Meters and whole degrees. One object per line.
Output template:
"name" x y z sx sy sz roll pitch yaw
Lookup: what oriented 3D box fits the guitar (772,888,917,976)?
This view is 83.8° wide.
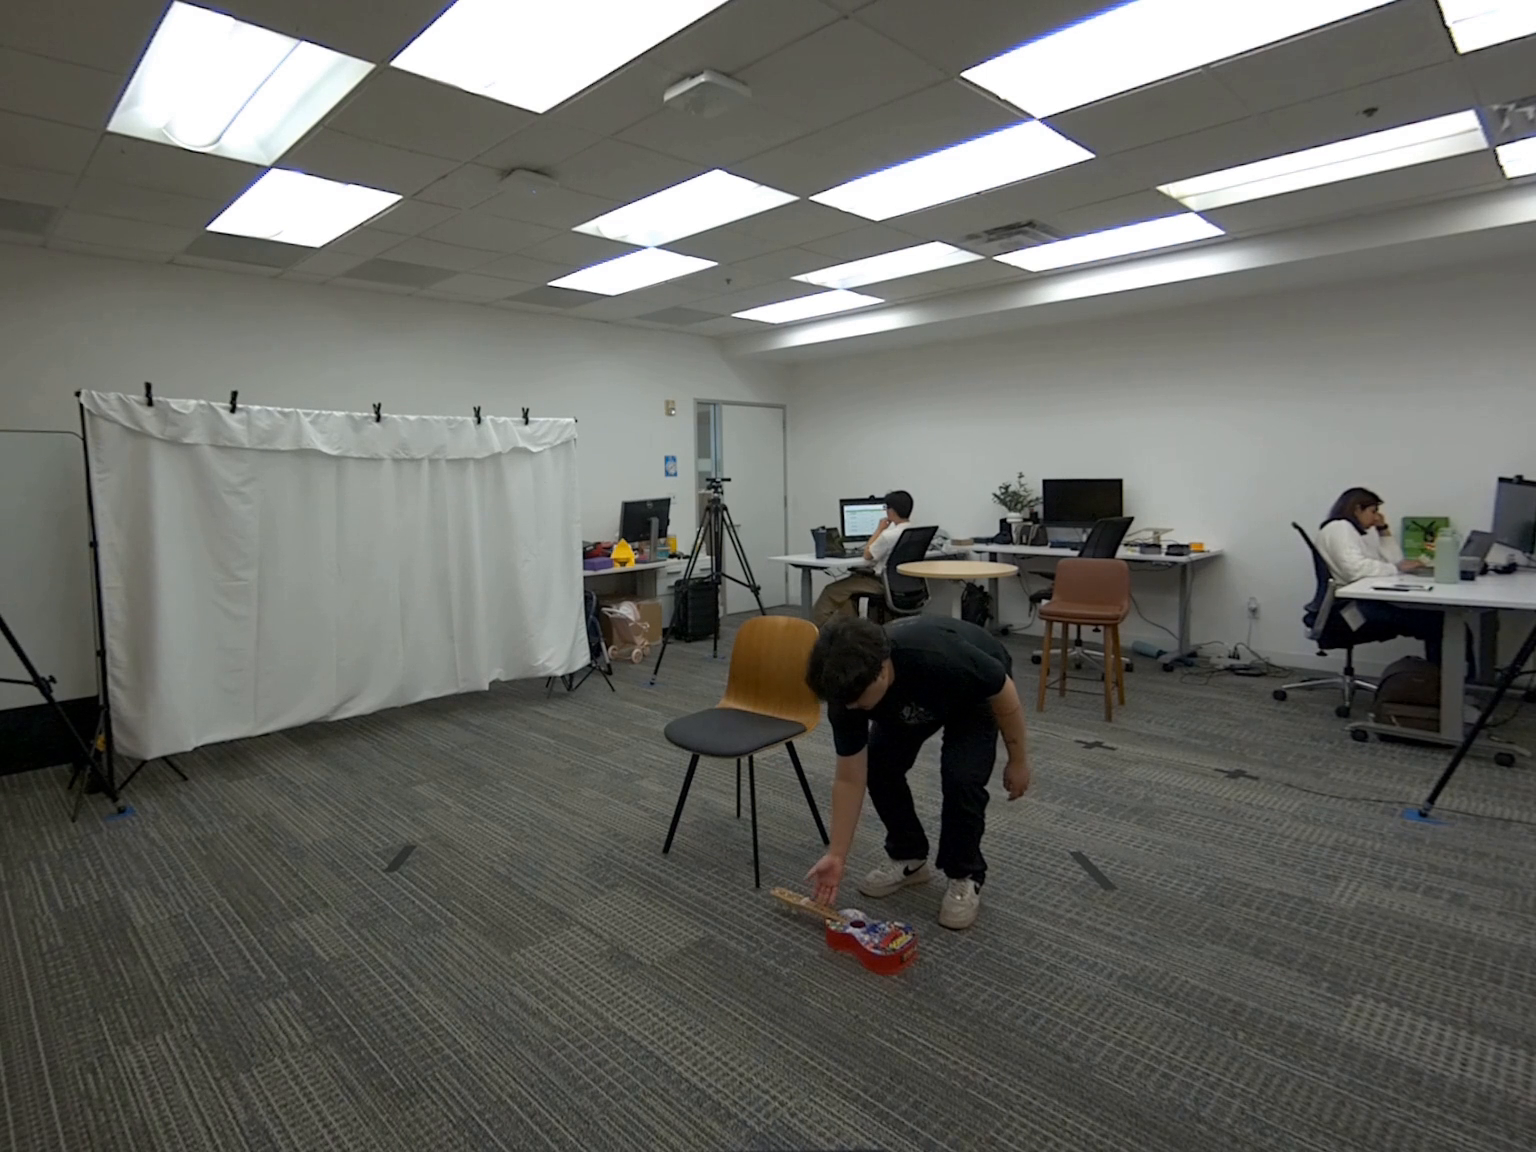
"guitar" 0.238 1.063 2.618 0.188 0.070 0.513 -7 9 -40
